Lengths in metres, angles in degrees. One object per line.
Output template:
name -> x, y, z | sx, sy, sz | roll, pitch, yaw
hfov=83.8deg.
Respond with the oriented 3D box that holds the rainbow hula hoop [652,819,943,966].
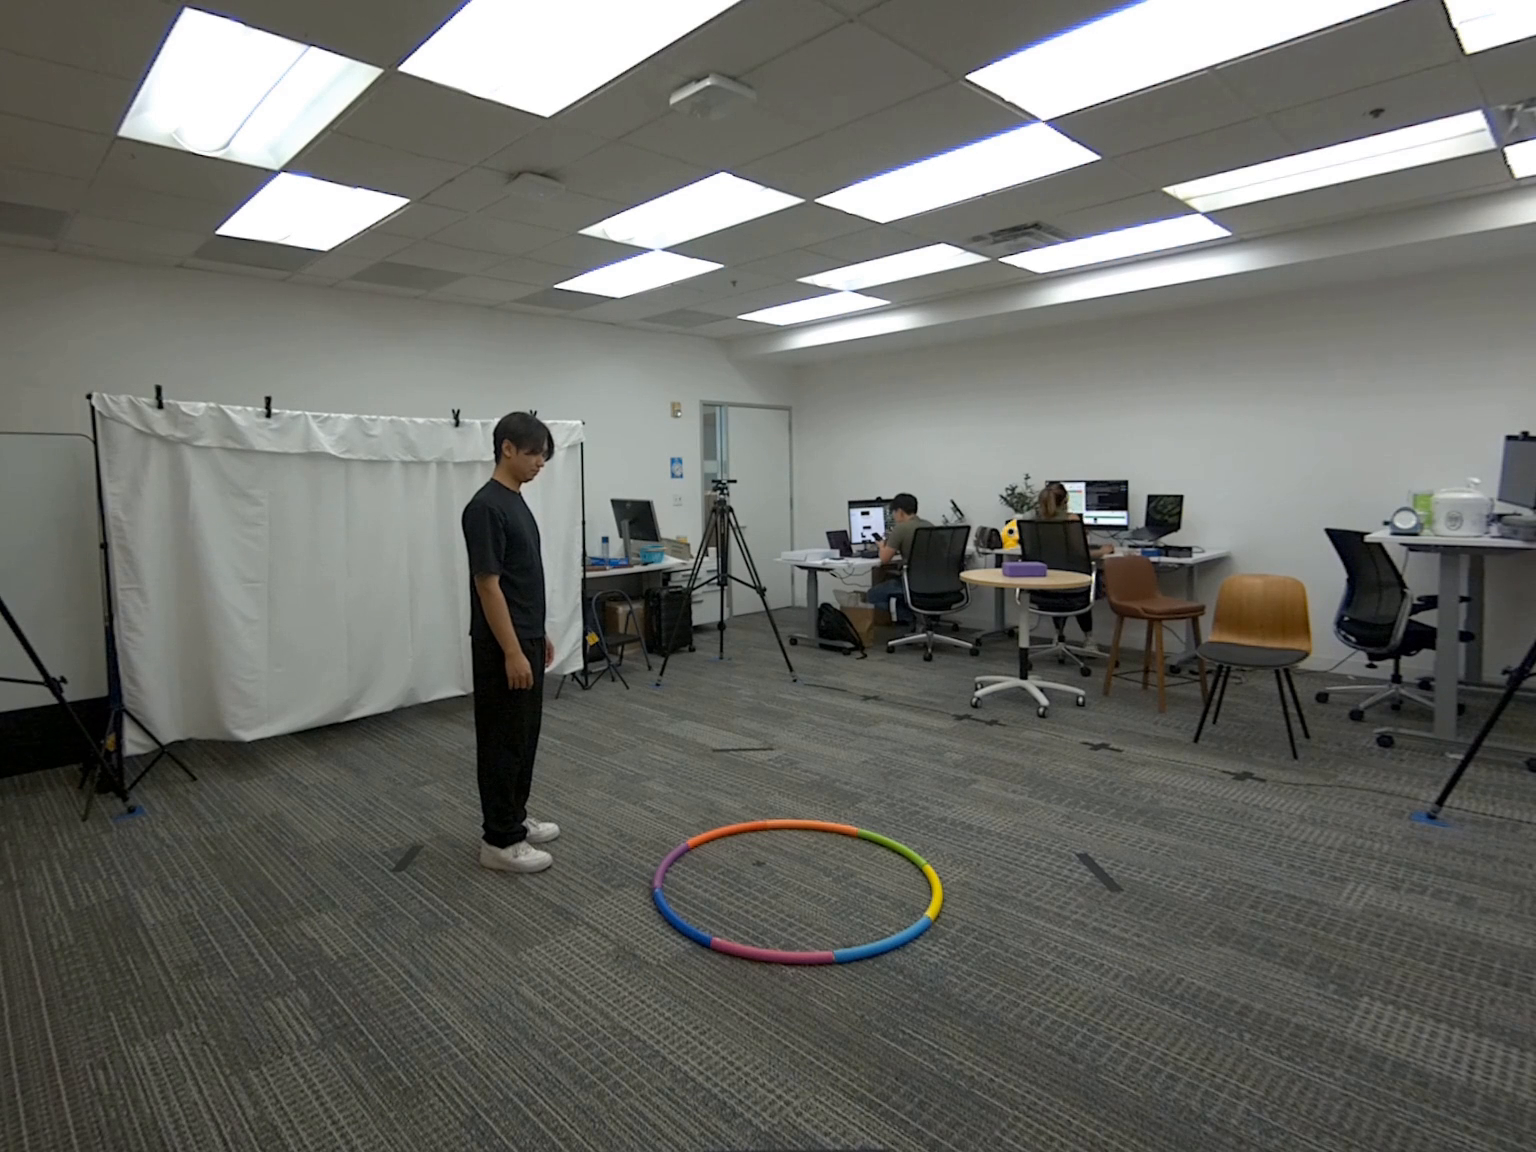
rainbow hula hoop -> 0.092, 1.033, 2.941 | 0.978, 0.035, 0.984 | -2, 7, -2
